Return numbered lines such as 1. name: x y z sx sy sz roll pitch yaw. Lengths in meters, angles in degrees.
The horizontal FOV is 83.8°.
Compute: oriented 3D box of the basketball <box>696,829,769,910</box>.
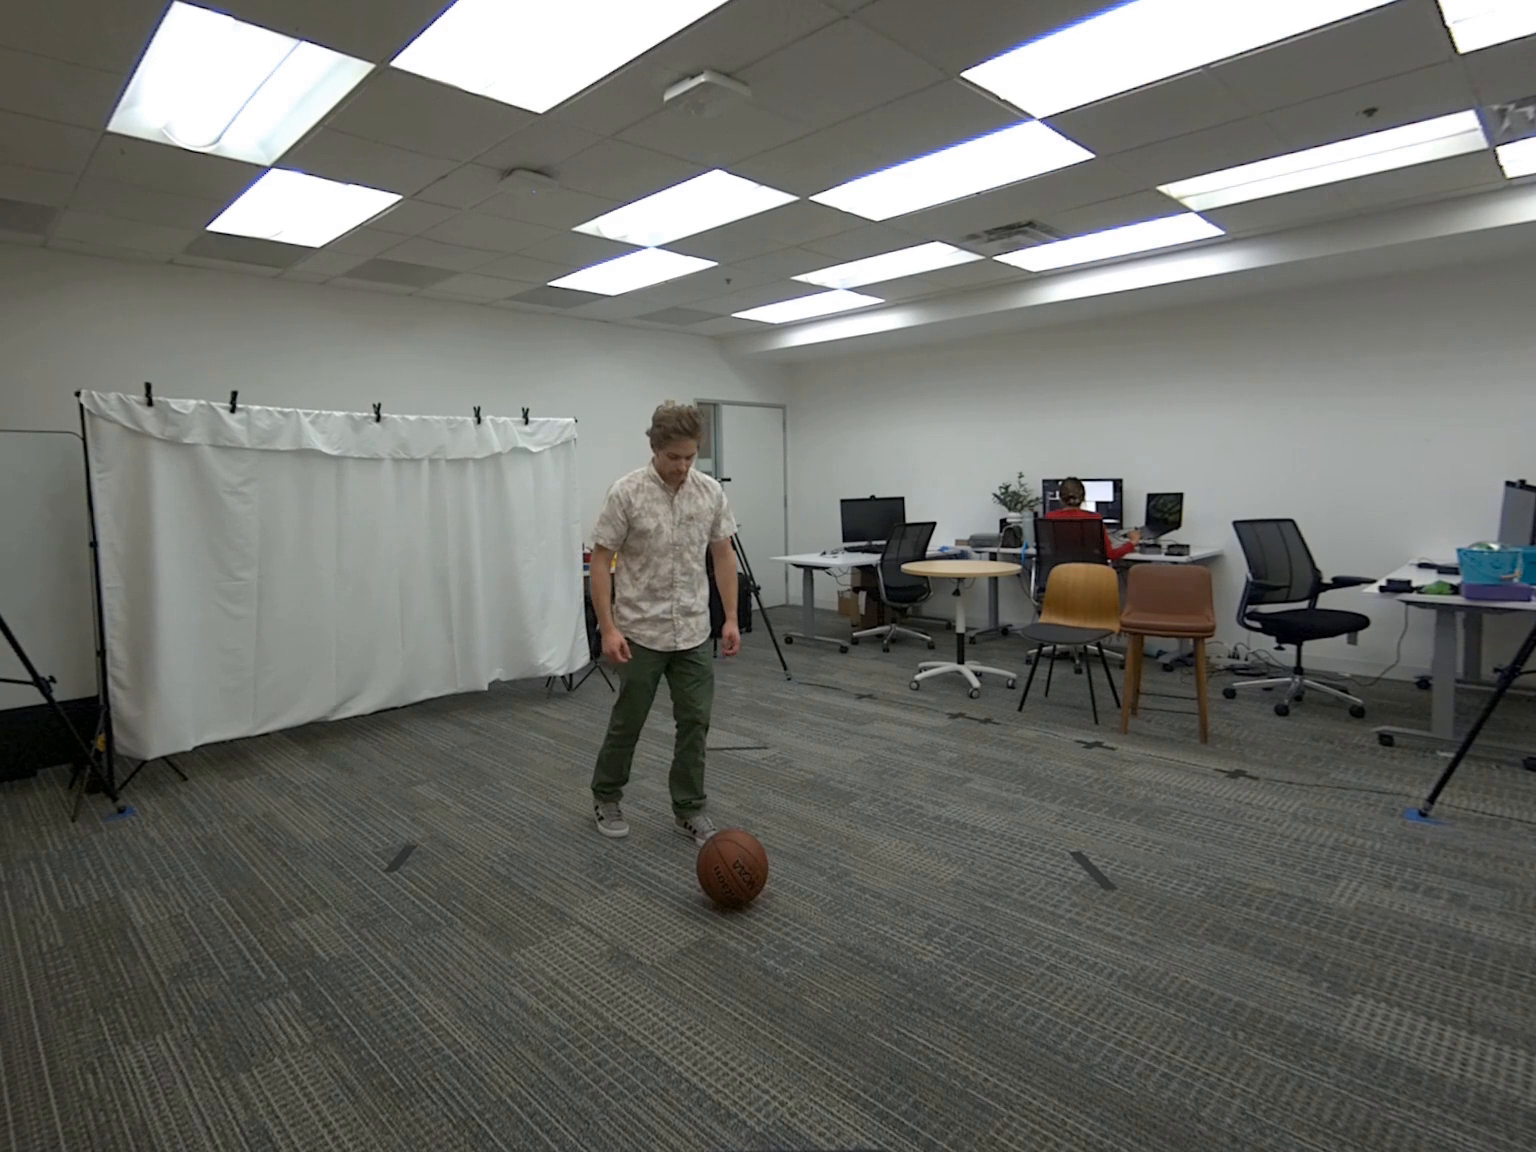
1. basketball: -0.111 0.951 2.815 0.236 0.235 0.237 -1 5 -2
